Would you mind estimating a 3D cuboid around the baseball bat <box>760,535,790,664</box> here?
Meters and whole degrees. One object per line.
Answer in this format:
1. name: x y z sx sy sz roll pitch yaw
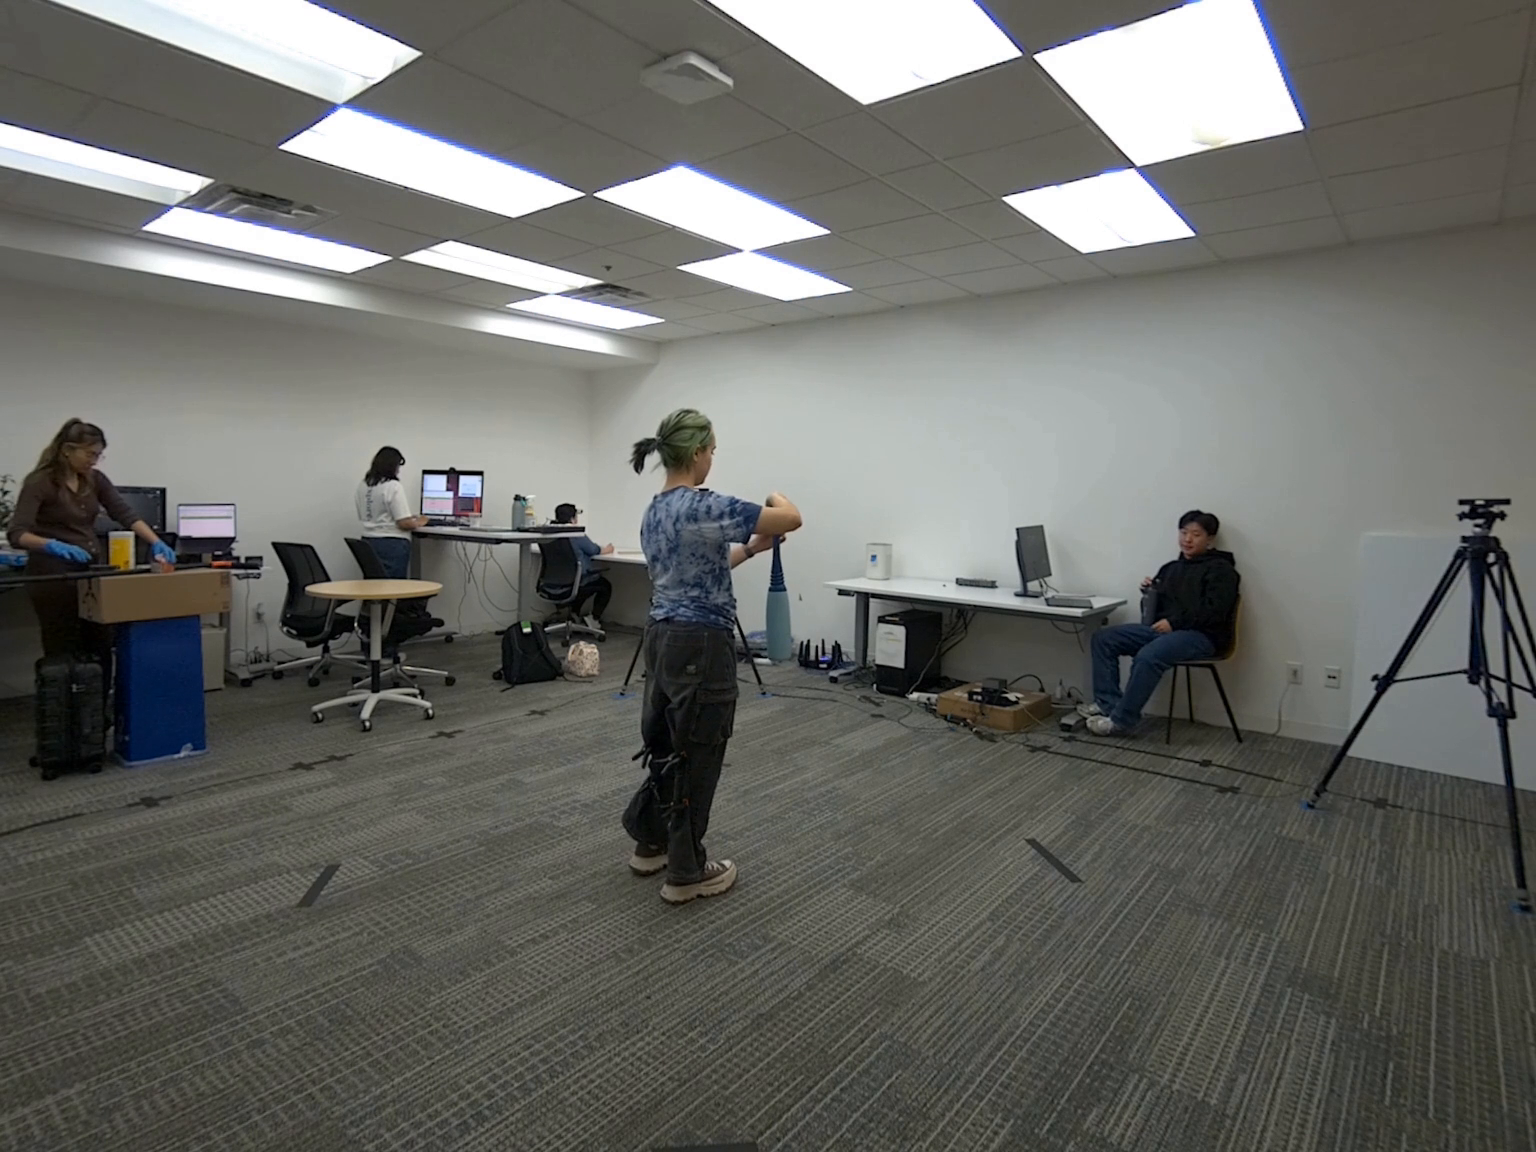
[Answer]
1. baseball bat: 0.021 0.037 3.041 0.089 0.540 0.089 -2 5 -2
